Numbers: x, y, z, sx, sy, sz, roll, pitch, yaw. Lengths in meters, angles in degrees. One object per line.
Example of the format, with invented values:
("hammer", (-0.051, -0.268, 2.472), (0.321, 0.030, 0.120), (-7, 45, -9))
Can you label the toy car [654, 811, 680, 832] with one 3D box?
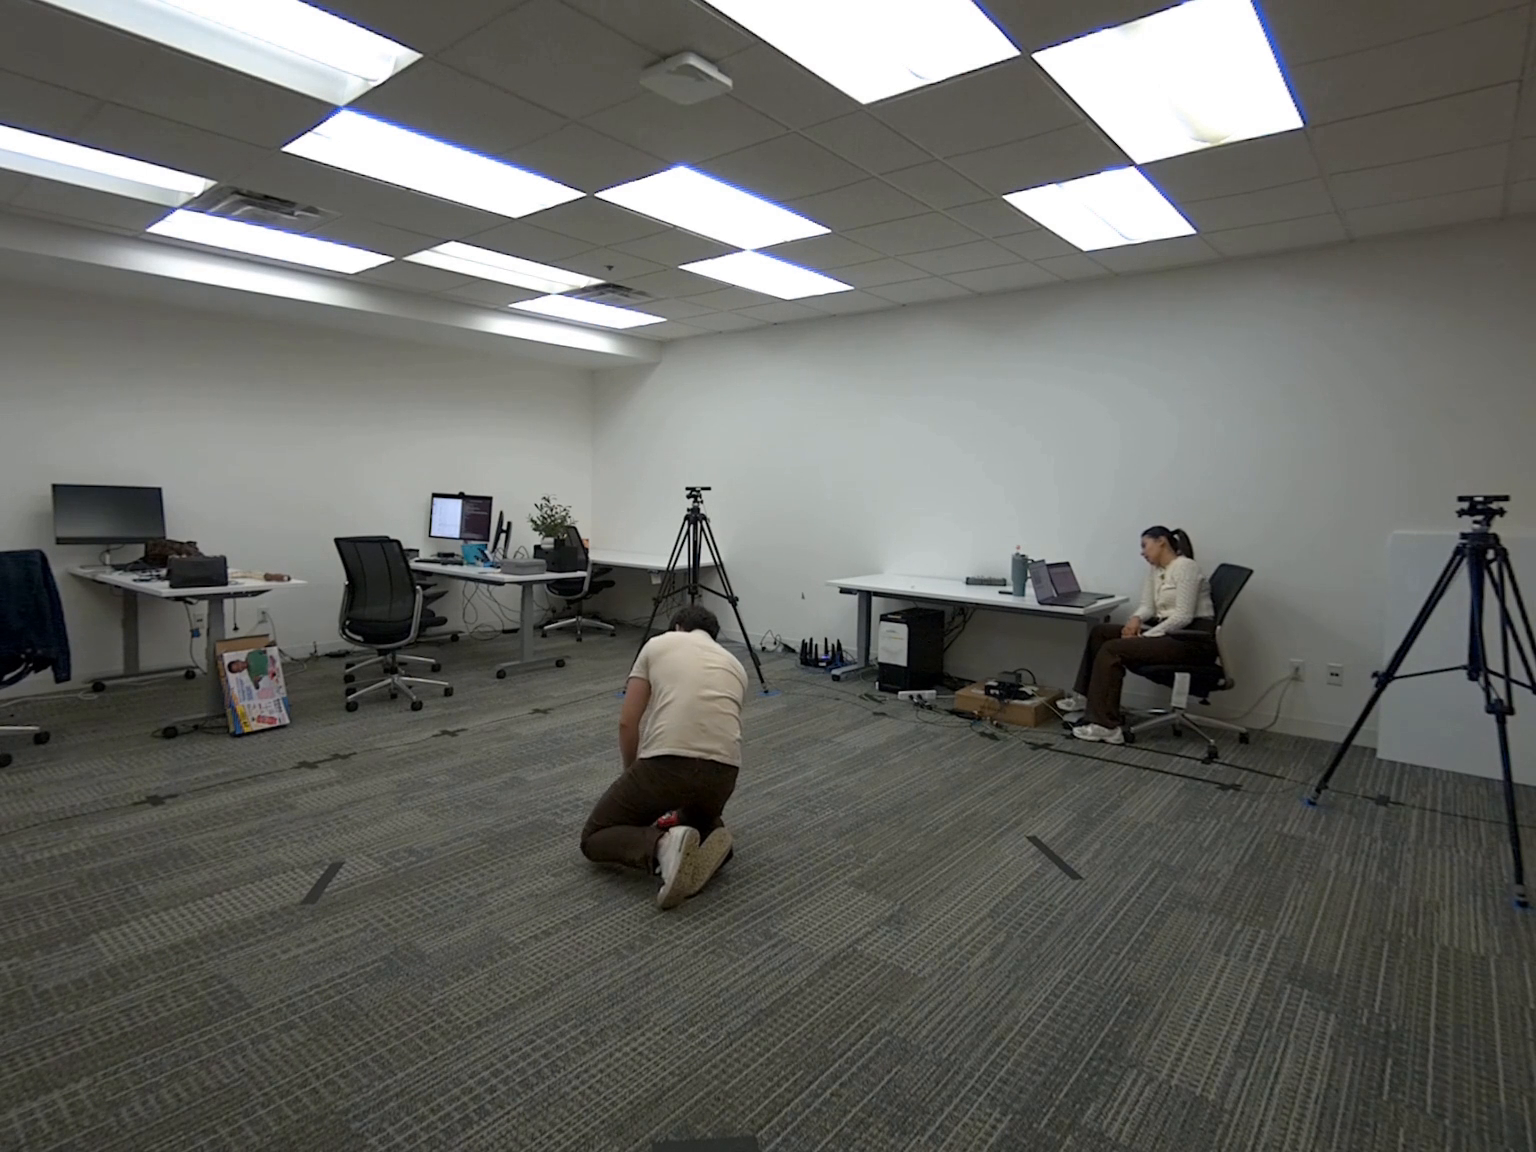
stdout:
("toy car", (-0.459, 0.982, 3.543), (0.127, 0.082, 0.263), (-3, 19, -23))
